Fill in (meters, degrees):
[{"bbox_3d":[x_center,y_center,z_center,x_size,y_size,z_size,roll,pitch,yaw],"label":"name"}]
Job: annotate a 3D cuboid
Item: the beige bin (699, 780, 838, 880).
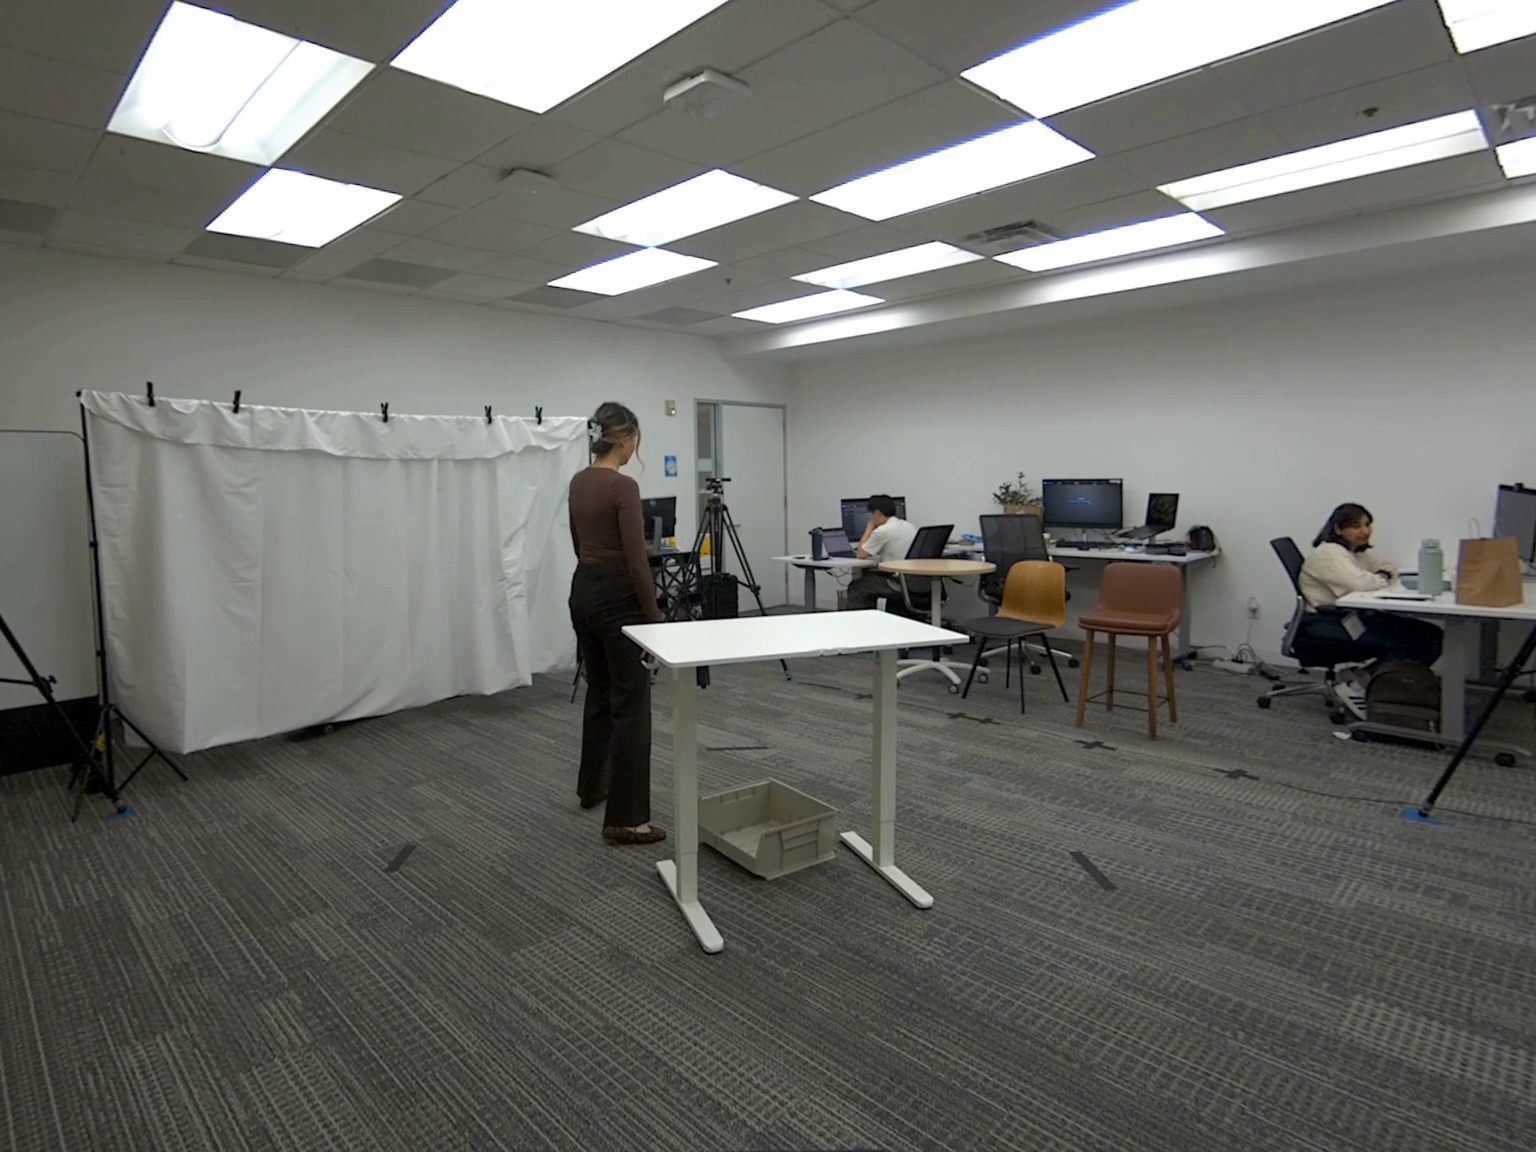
[{"bbox_3d":[-0.010,0.946,3.204,0.368,0.188,0.435,-3,6,-35],"label":"beige bin"}]
